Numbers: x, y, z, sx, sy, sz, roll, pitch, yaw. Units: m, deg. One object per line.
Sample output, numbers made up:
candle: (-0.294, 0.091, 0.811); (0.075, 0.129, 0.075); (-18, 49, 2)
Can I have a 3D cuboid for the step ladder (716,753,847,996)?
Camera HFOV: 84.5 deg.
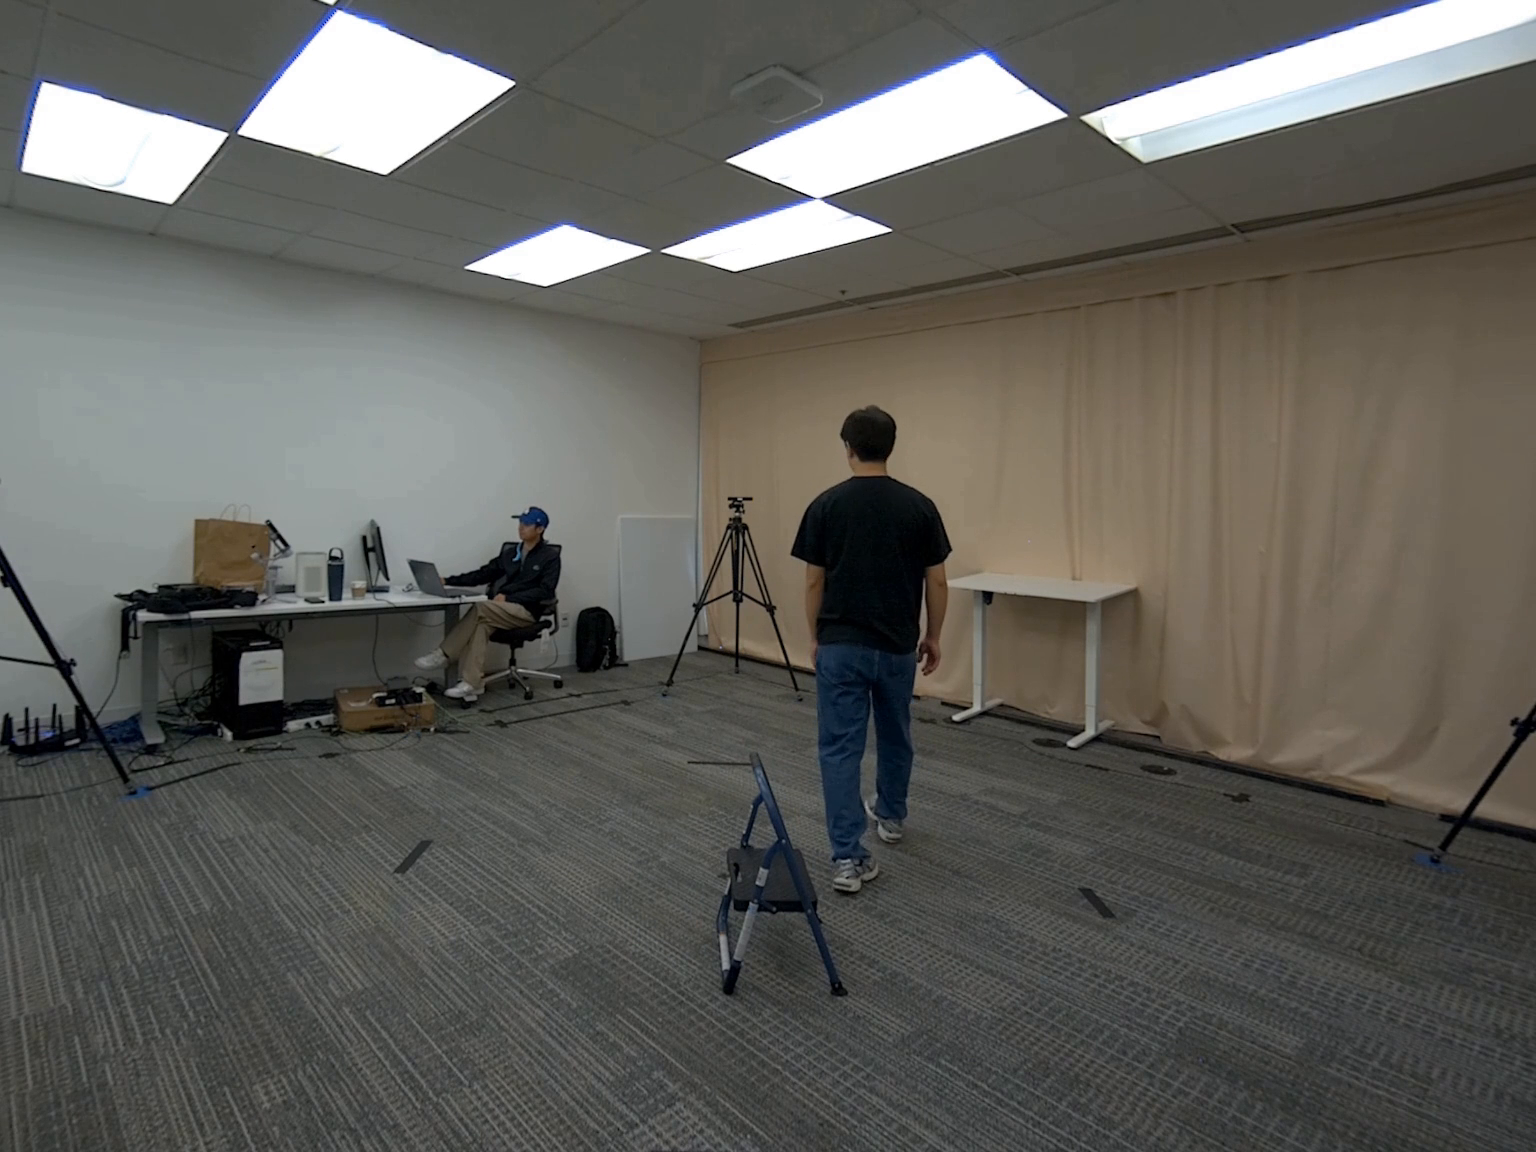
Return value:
step ladder: (0.026, 0.863, 2.551); (0.347, 0.605, 0.434); (2, 4, -7)
